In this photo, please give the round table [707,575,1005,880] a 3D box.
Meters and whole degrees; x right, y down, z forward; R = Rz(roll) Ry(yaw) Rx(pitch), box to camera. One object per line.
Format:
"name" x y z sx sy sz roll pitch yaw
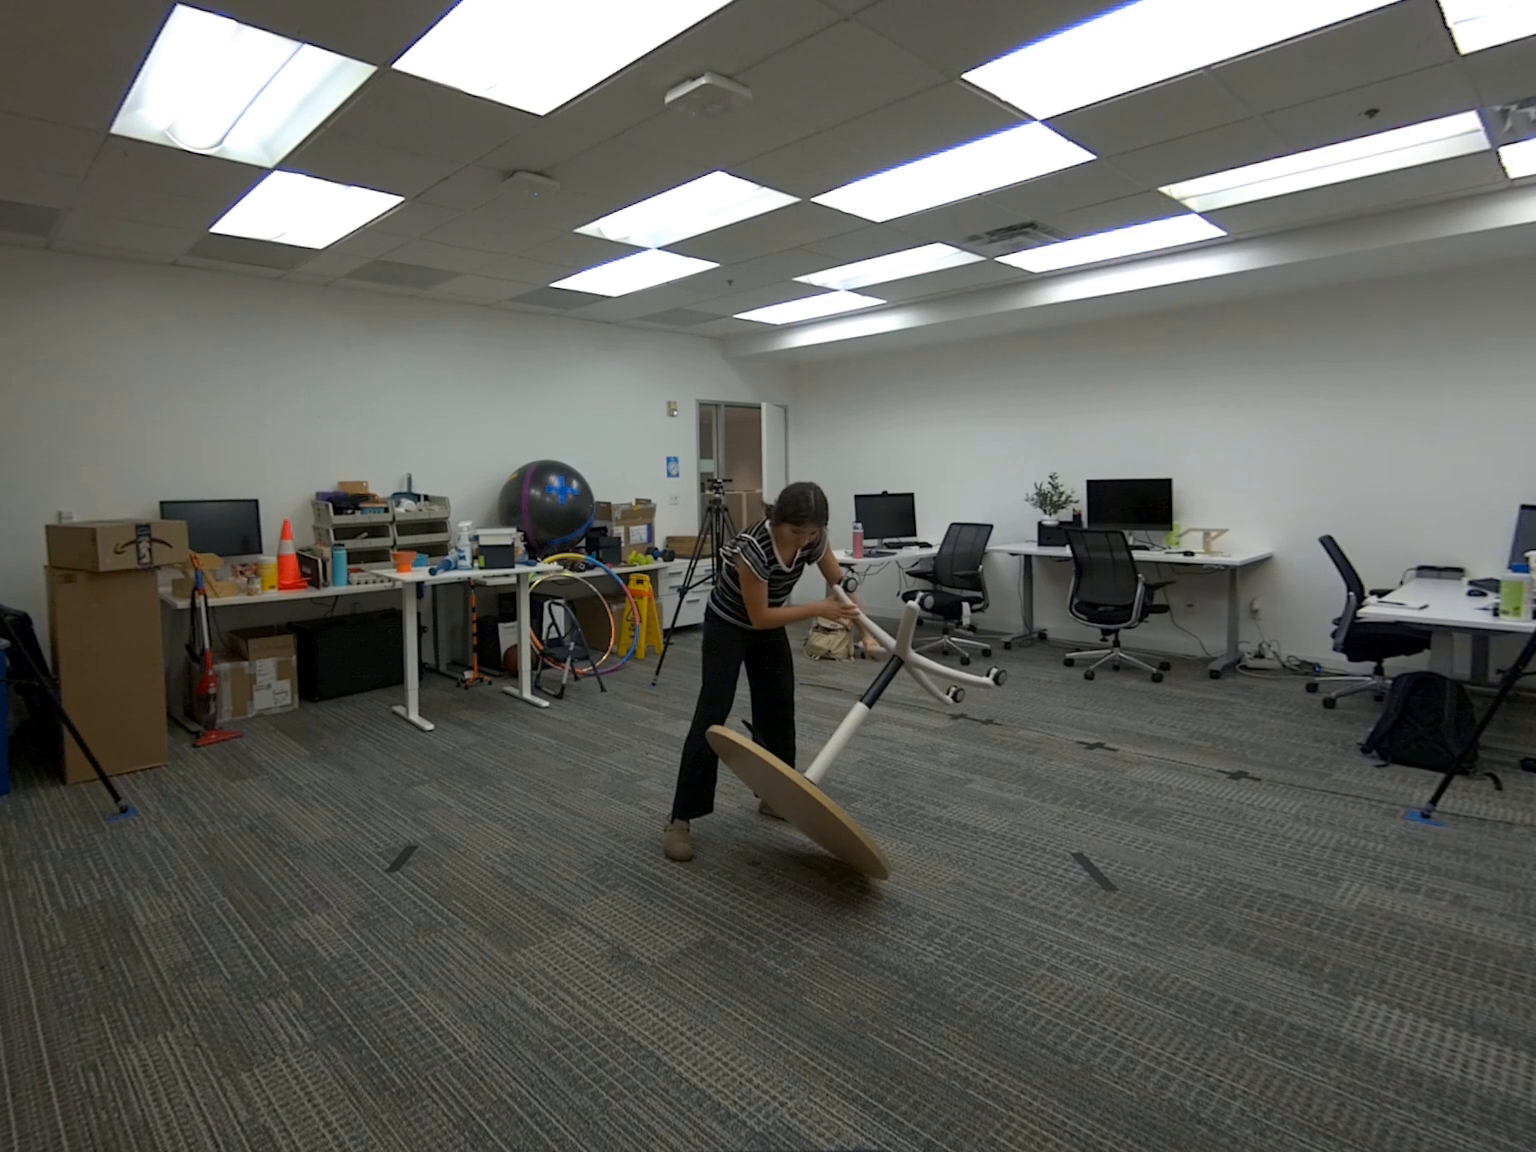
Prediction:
"round table" 0.325 0.496 3.057 0.794 0.742 0.786 -49 26 -20
